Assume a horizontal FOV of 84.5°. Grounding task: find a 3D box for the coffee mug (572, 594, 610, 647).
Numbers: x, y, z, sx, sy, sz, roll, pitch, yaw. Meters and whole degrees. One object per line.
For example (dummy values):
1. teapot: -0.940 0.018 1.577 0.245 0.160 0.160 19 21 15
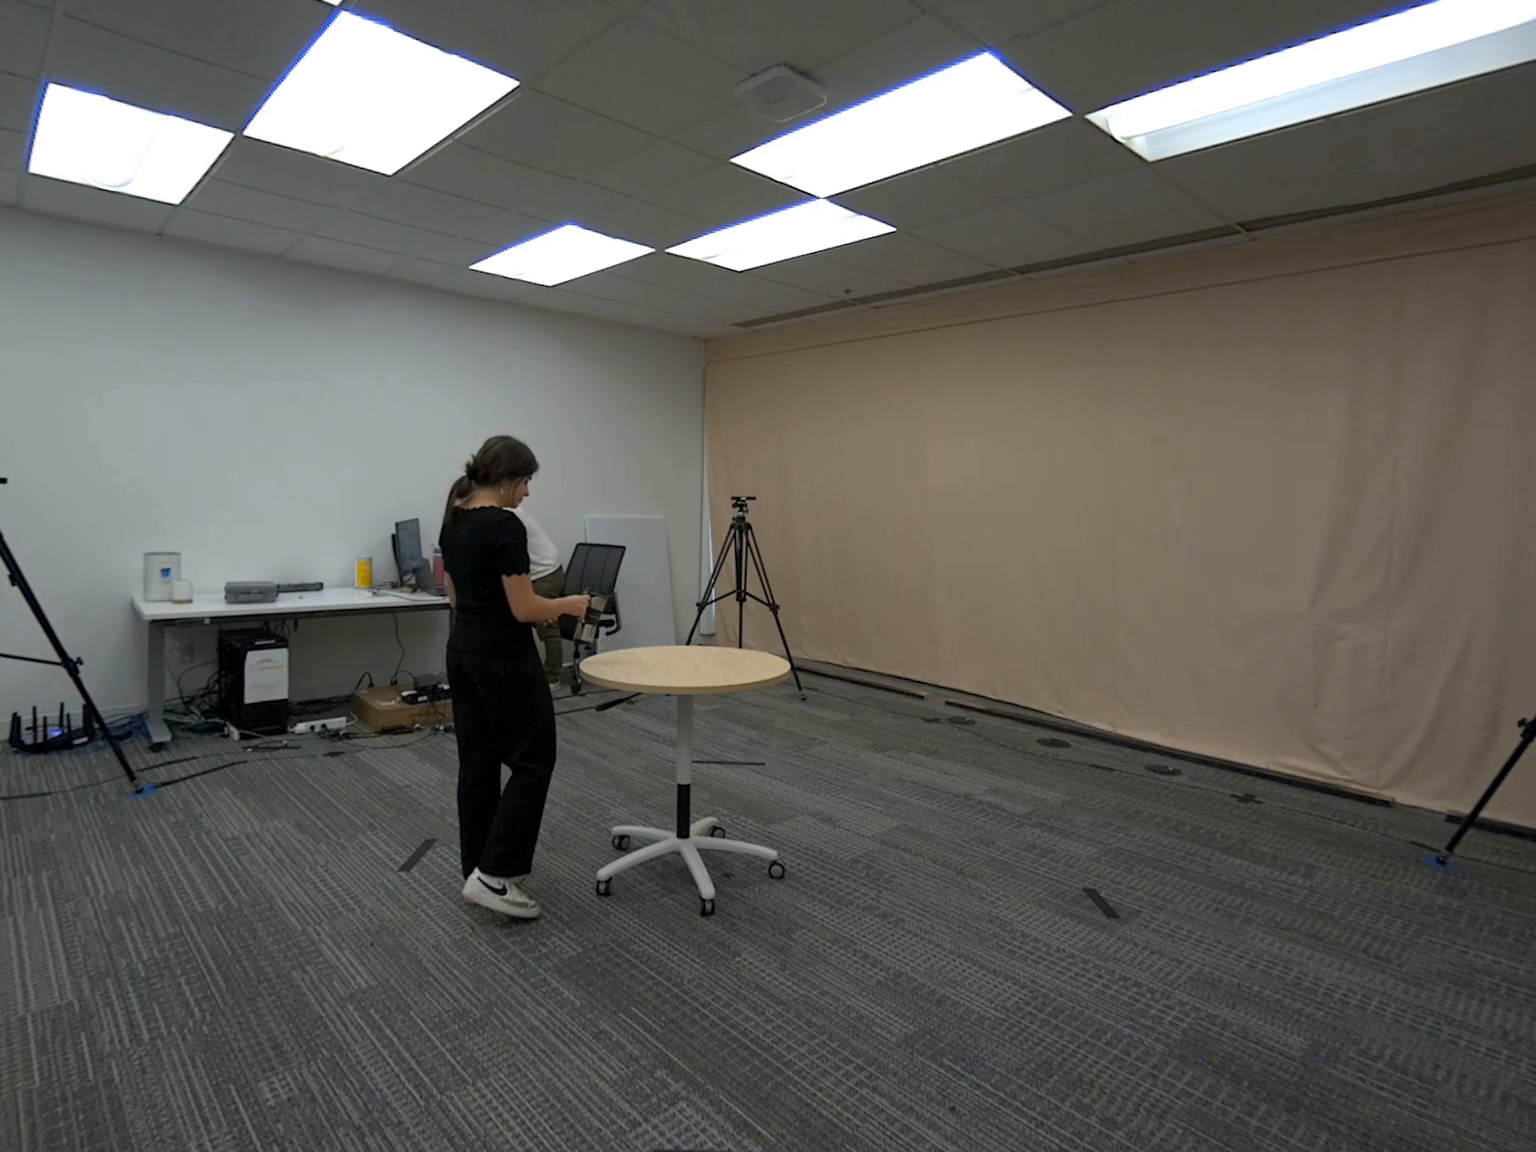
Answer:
1. coffee mug: -0.679 0.153 3.077 0.118 0.204 0.090 25 -14 -41
